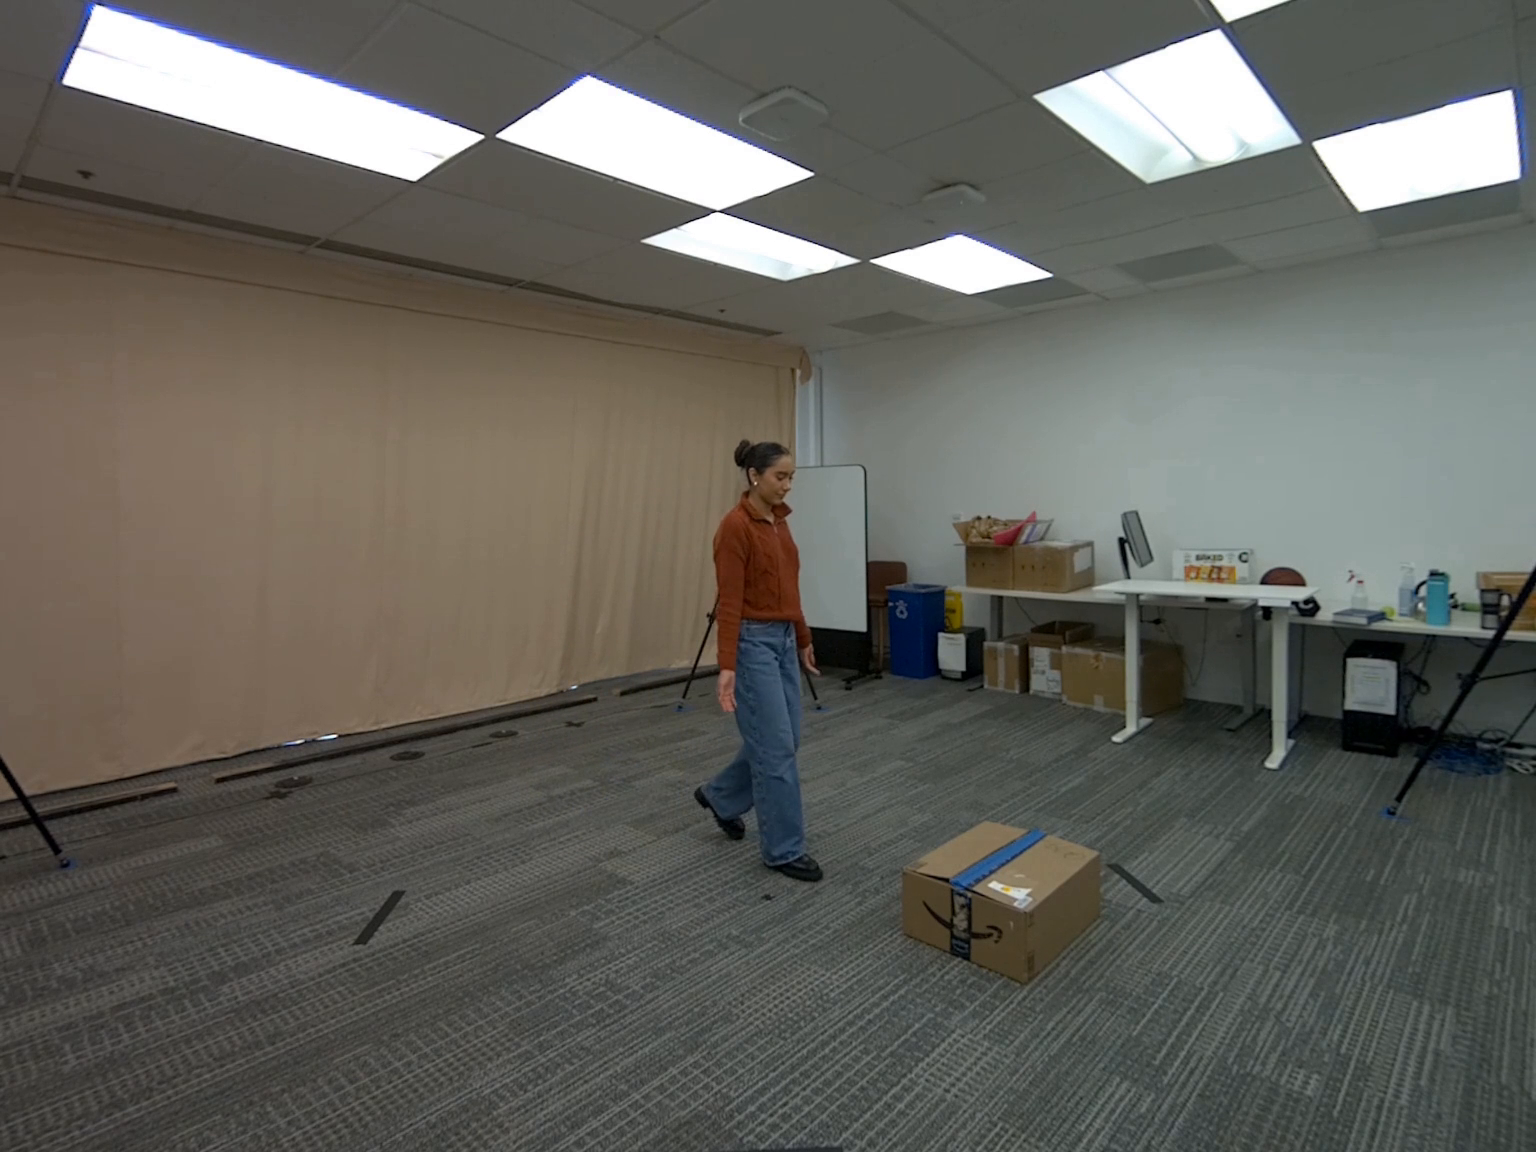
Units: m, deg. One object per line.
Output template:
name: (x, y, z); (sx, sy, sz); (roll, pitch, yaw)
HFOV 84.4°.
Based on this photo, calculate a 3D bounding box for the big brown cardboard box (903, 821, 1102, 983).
big brown cardboard box: (0.772, 1.034, 2.750); (0.431, 0.232, 0.571); (3, 6, 43)
